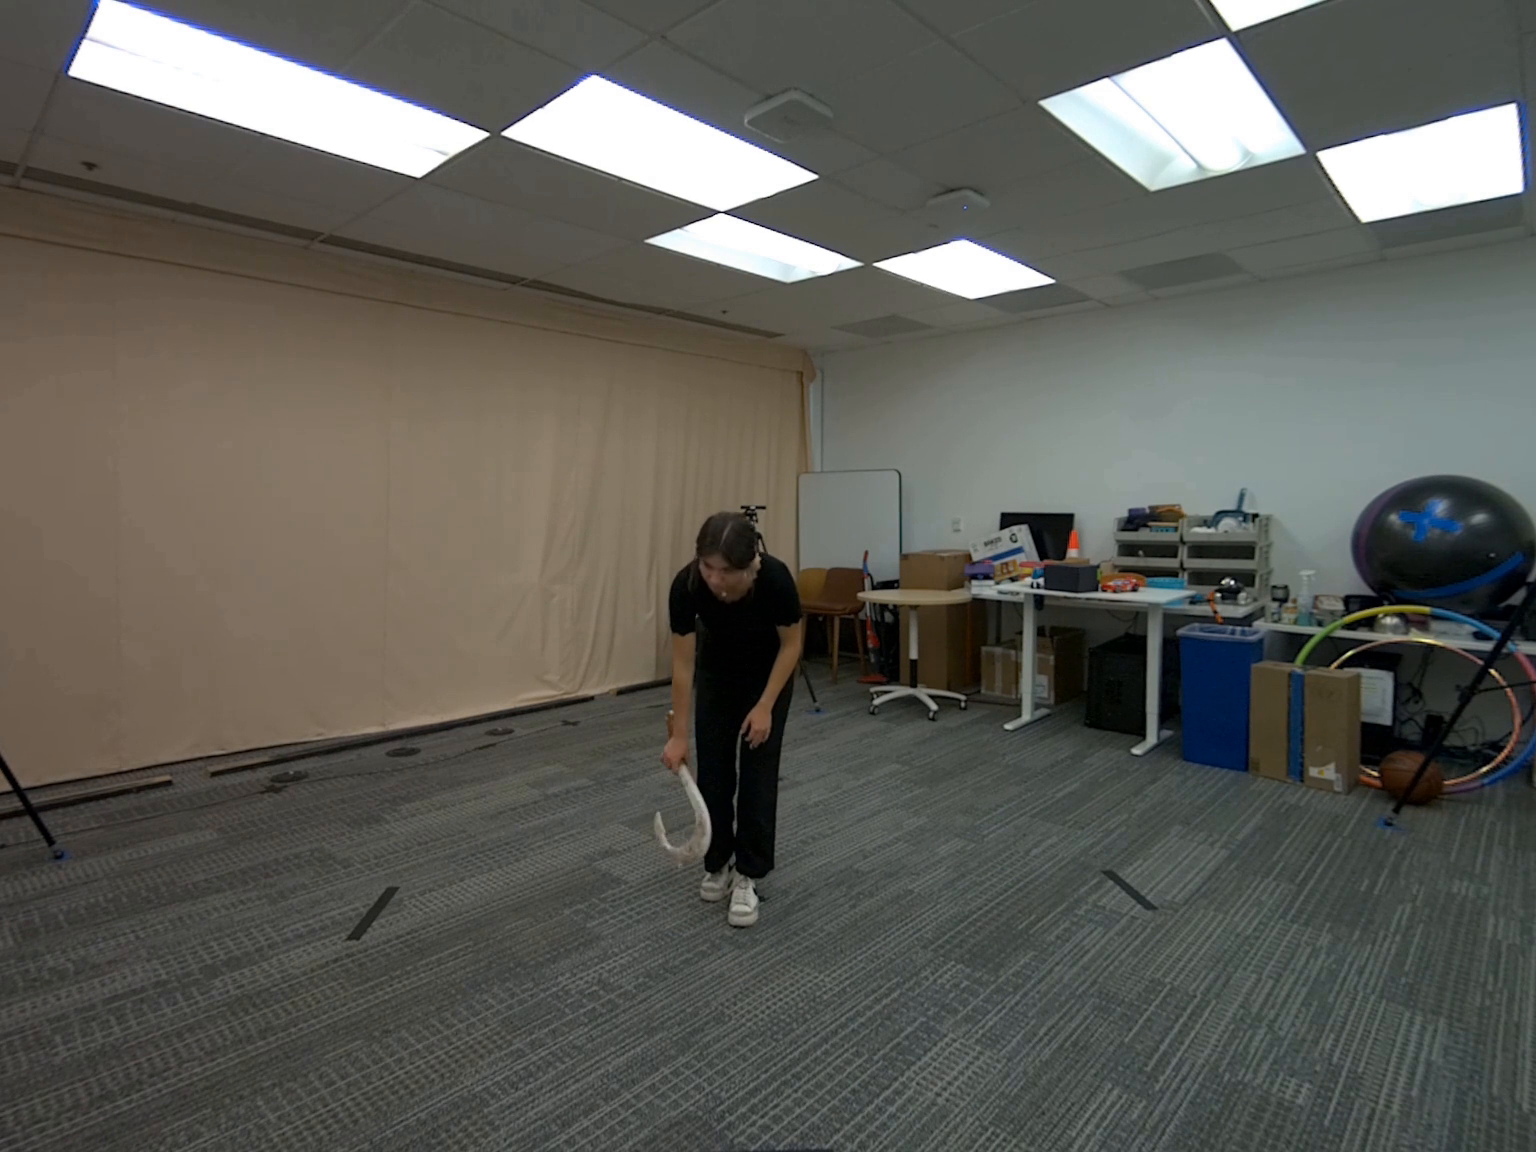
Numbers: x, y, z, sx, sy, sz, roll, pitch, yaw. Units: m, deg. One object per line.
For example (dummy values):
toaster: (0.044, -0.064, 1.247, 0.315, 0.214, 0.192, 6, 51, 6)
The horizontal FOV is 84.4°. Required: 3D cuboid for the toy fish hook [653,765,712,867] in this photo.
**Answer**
toy fish hook: (-0.304, 0.706, 2.843, 0.228, 0.517, 0.046, -26, -32, 22)
